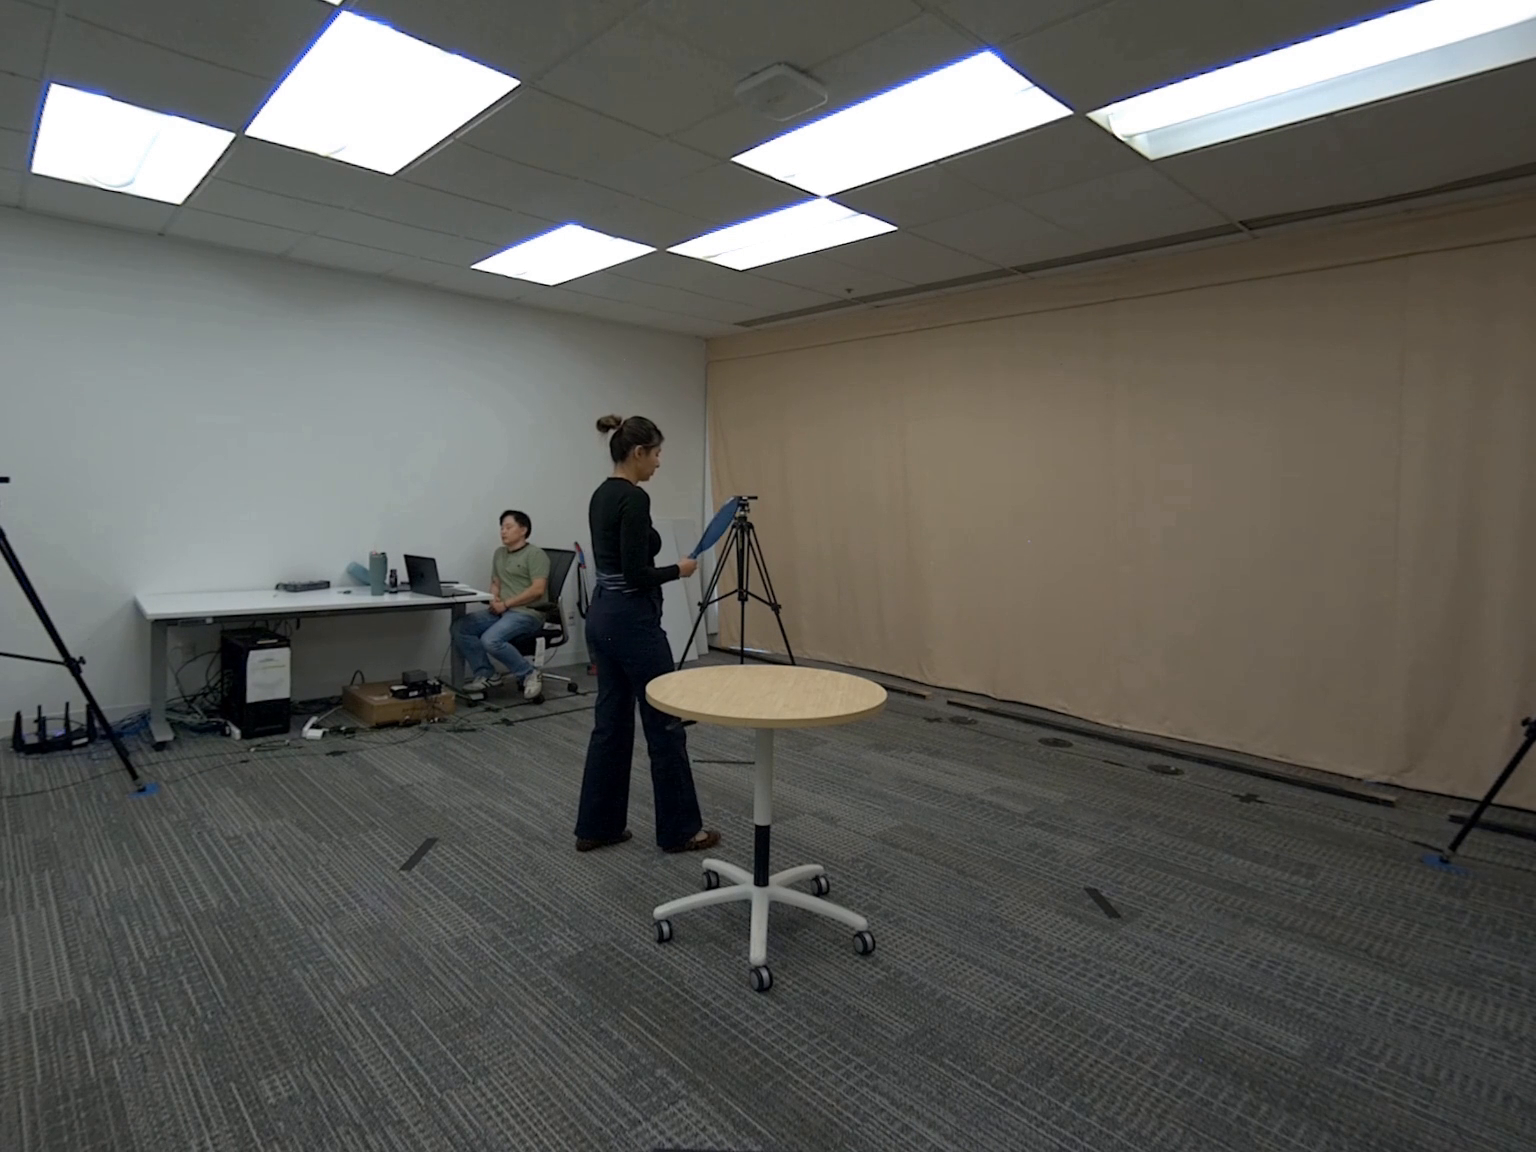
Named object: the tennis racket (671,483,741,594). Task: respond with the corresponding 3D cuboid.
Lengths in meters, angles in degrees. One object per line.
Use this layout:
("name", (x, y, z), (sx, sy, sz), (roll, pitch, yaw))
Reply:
("tennis racket", (-0.246, -0.155, 3.412), (0.032, 0.434, 0.209), (26, -28, 16))
